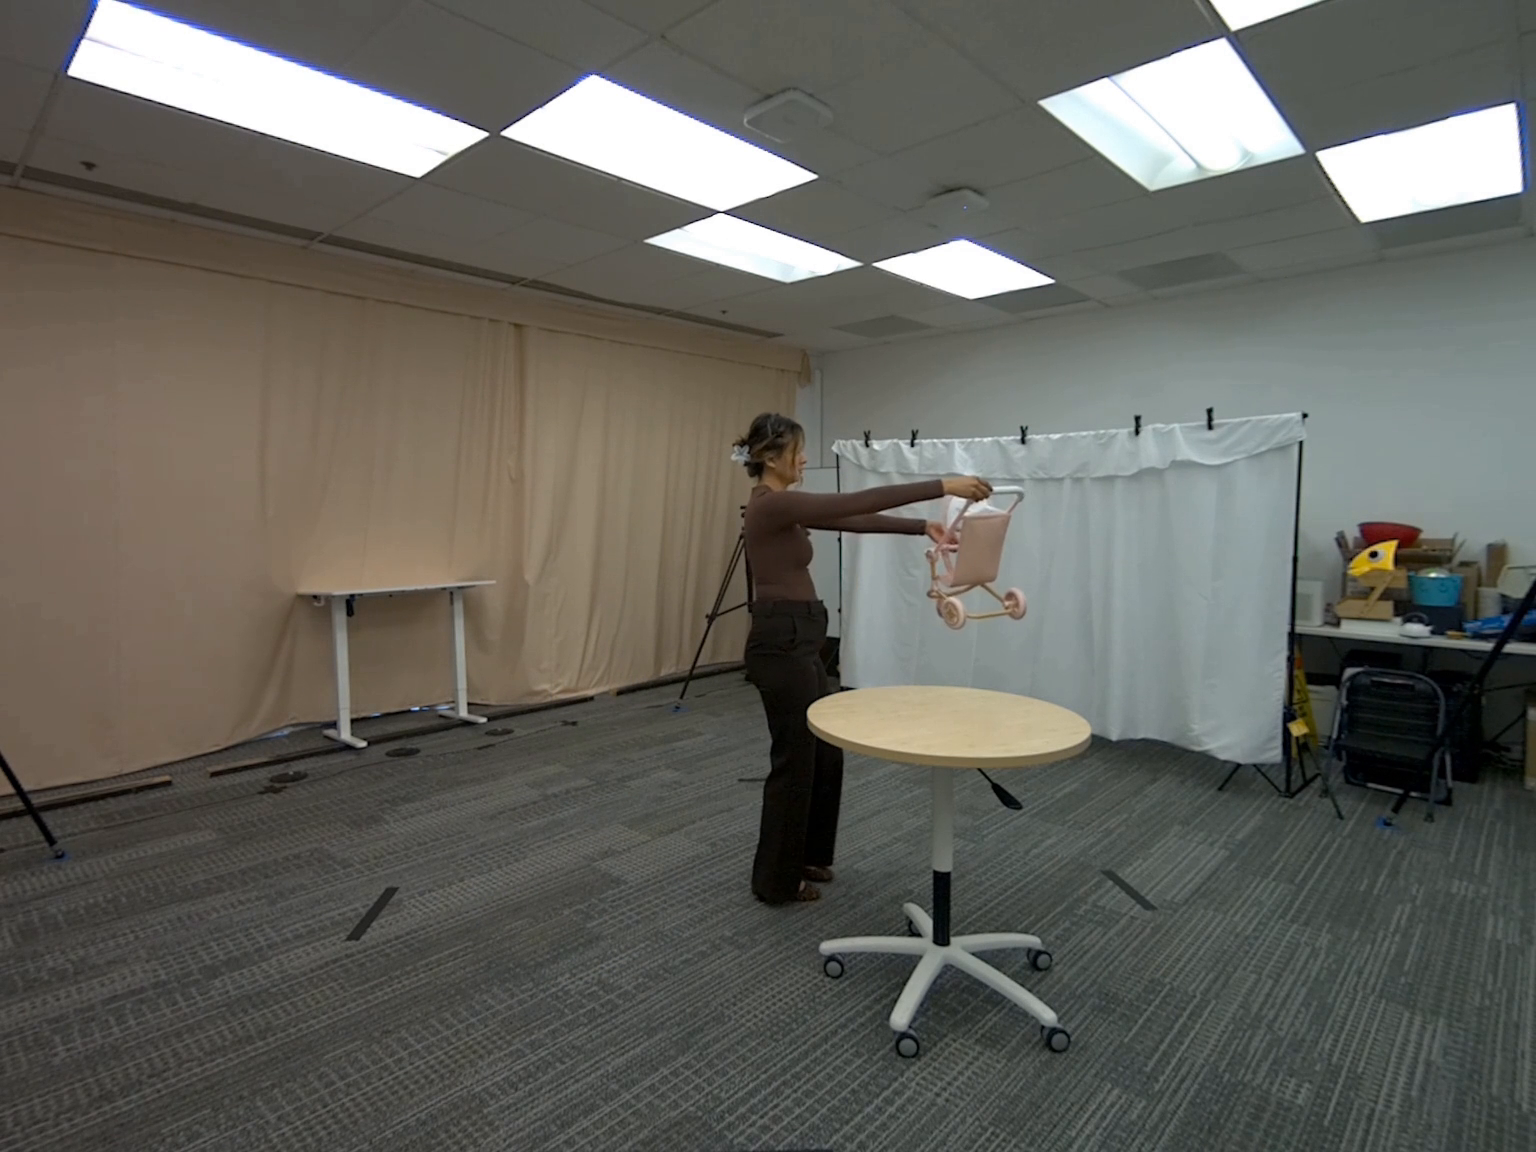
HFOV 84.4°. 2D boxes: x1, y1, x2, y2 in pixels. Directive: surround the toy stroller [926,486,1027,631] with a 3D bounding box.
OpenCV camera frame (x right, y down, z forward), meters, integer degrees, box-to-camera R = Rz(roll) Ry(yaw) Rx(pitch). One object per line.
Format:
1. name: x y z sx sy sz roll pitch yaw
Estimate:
1. toy stroller: 0.703 -0.065 2.893 0.277 0.530 0.350 -5 16 -17
